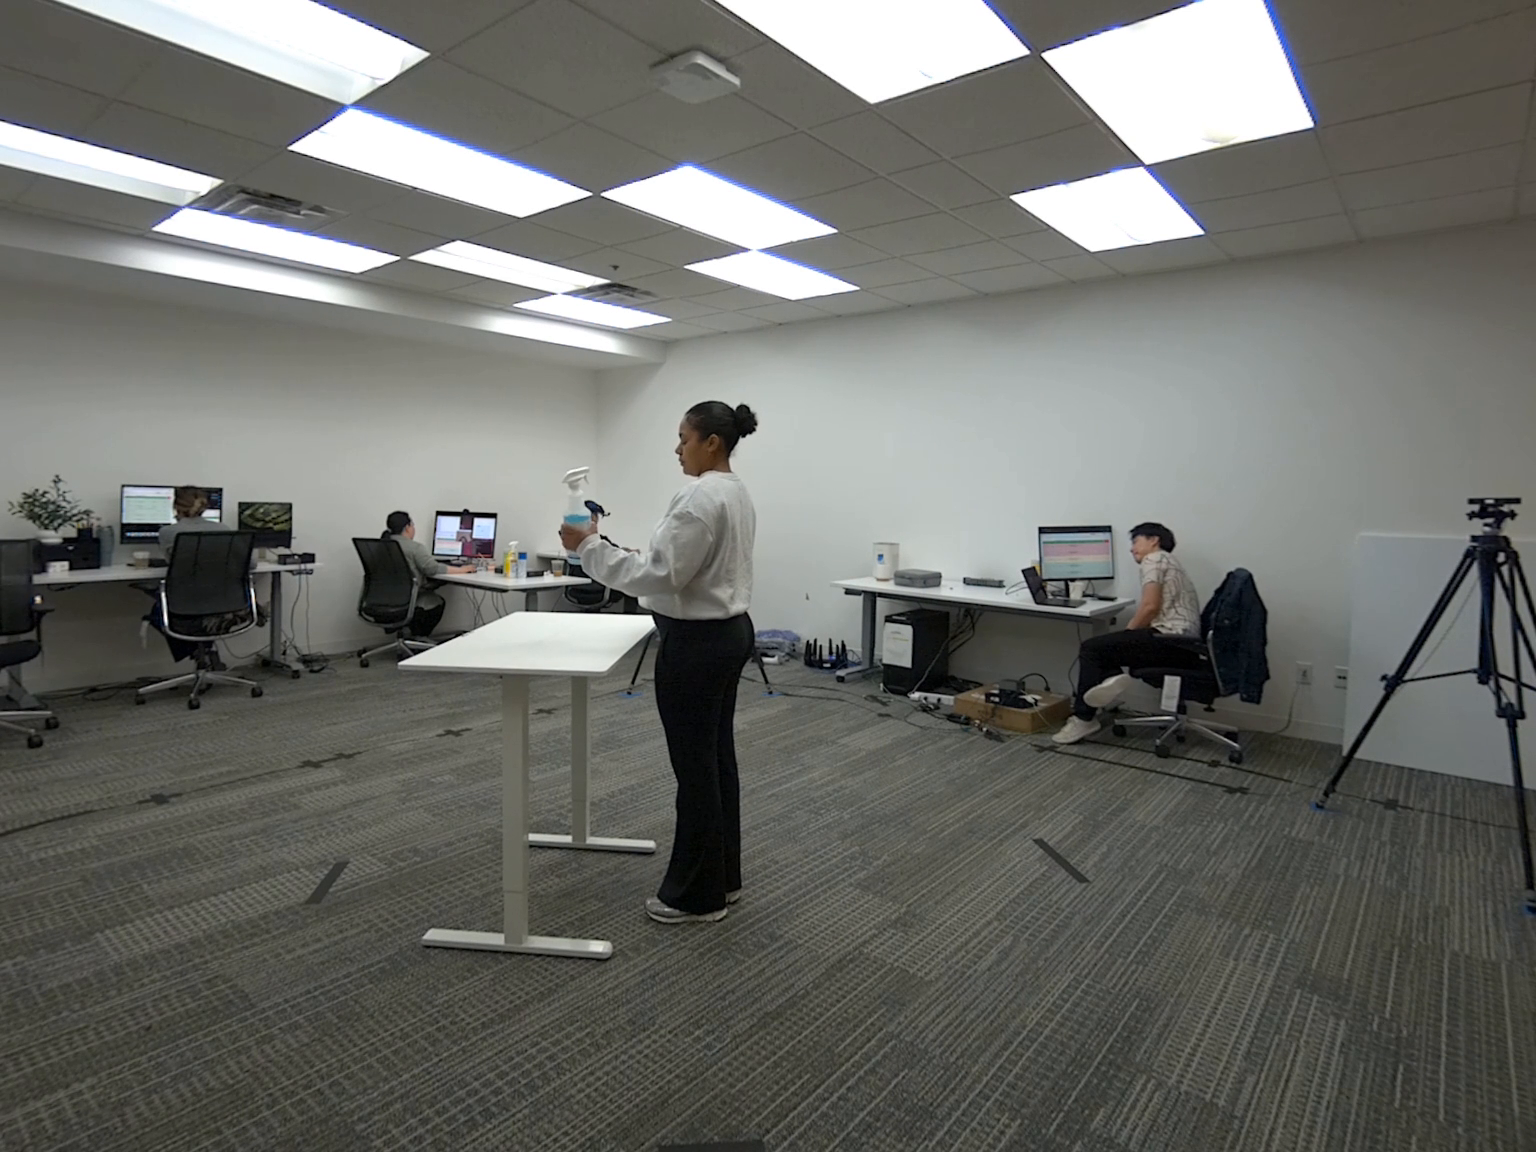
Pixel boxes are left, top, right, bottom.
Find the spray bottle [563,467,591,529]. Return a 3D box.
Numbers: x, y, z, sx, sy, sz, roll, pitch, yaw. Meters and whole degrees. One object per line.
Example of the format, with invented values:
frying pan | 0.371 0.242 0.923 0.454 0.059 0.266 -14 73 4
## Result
spray bottle | -0.606 -0.182 2.636 0.089 0.292 0.089 -3 20 -8
